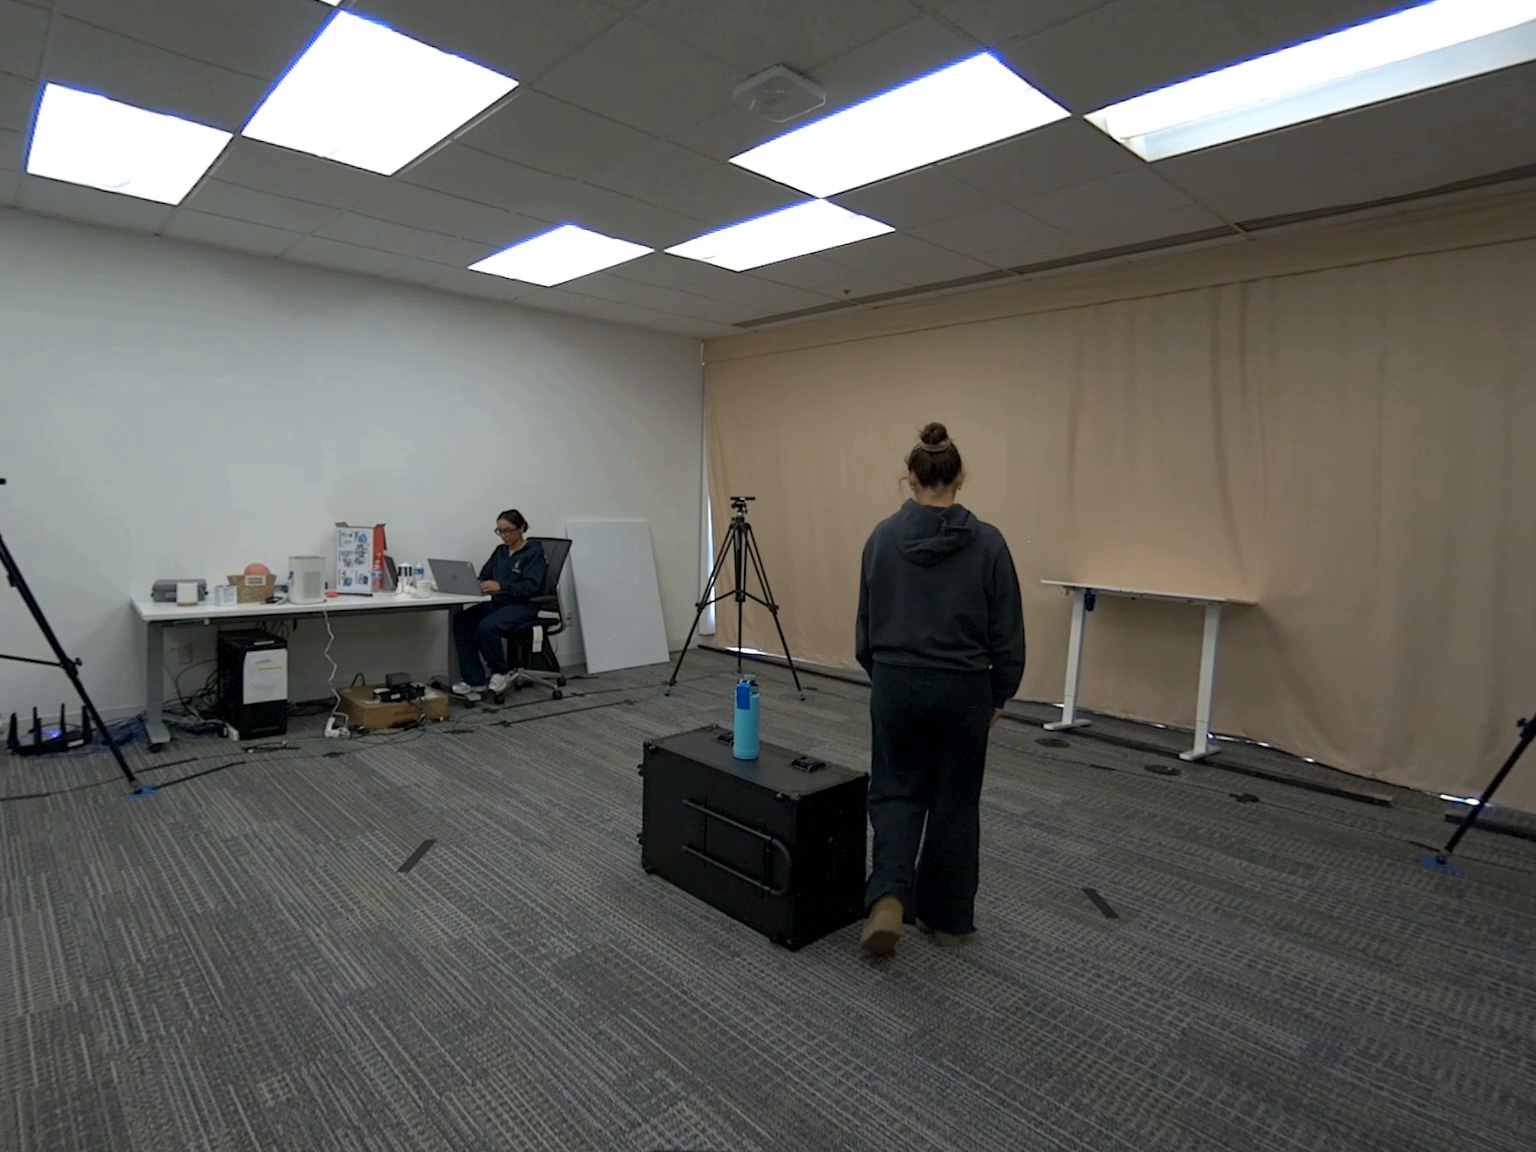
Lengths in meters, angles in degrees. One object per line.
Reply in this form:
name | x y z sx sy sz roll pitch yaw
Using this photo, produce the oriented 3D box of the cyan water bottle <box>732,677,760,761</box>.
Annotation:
cyan water bottle | -0.080 0.498 2.980 0.092 0.282 0.093 1 5 -2
